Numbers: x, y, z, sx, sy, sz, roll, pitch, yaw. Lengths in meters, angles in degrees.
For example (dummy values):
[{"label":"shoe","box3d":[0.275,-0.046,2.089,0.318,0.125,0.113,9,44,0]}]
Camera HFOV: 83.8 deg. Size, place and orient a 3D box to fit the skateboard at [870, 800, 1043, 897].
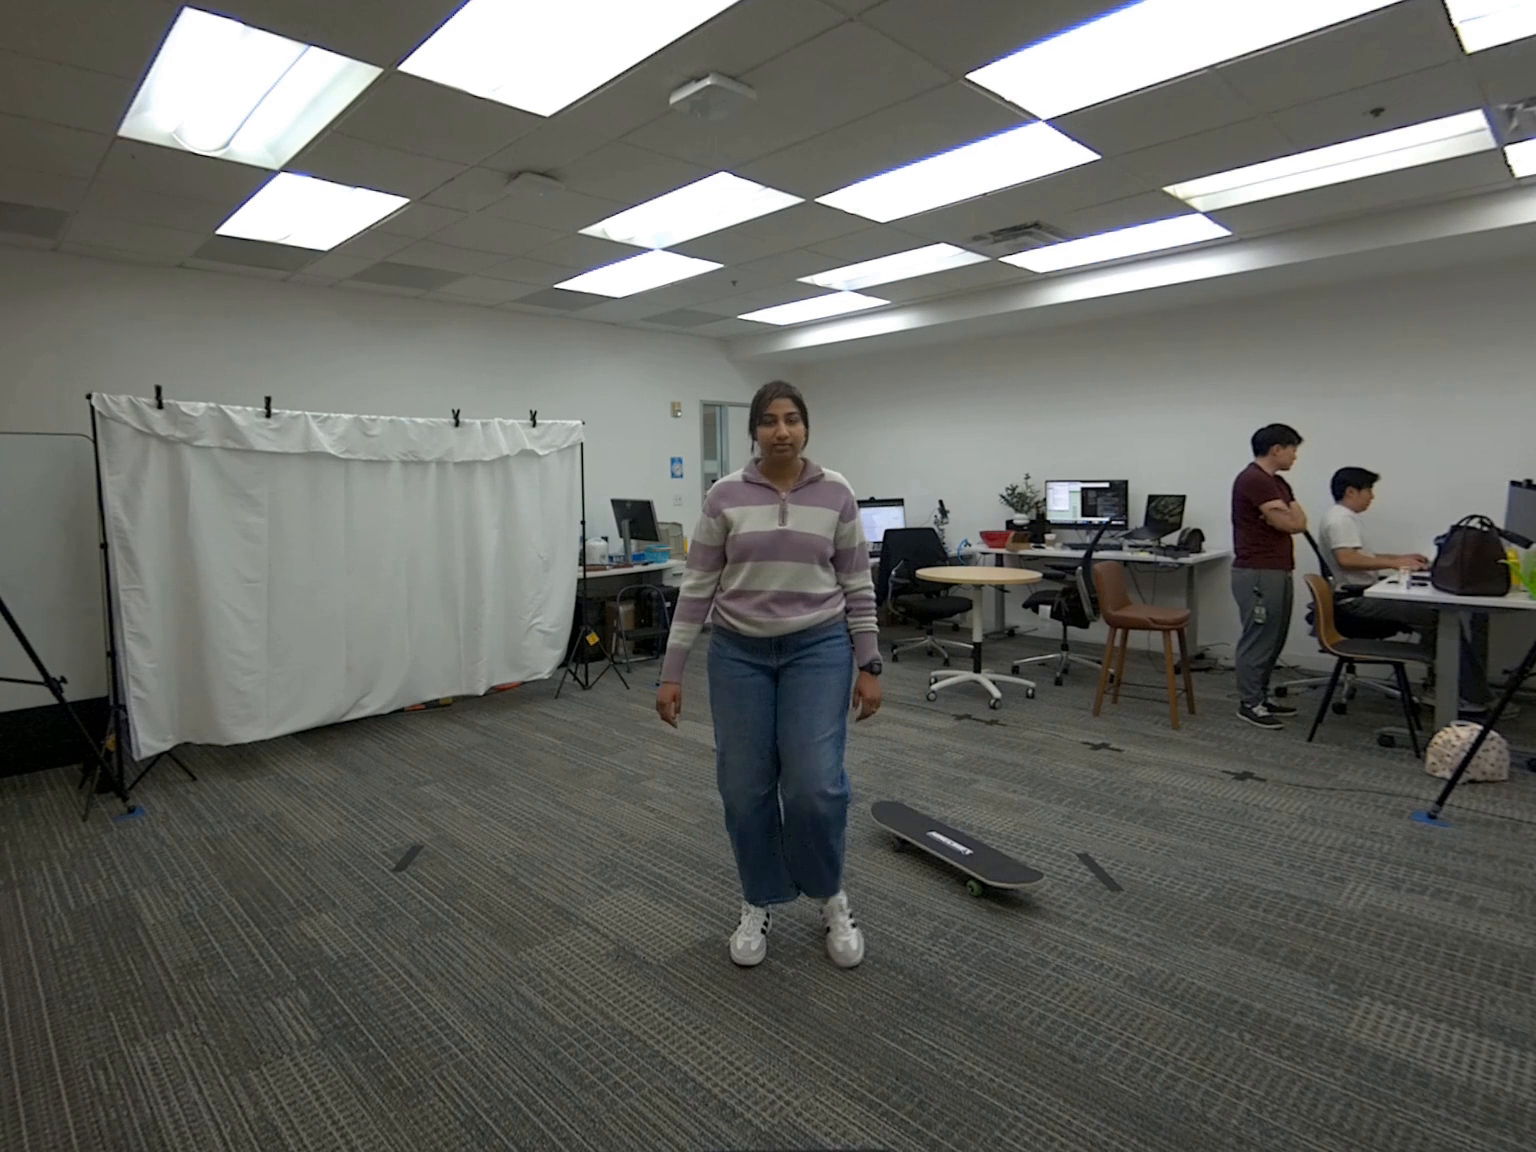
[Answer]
[{"label":"skateboard","box3d":[0.648,0.984,3.051,0.189,0.110,0.807,-5,7,-30]}]
